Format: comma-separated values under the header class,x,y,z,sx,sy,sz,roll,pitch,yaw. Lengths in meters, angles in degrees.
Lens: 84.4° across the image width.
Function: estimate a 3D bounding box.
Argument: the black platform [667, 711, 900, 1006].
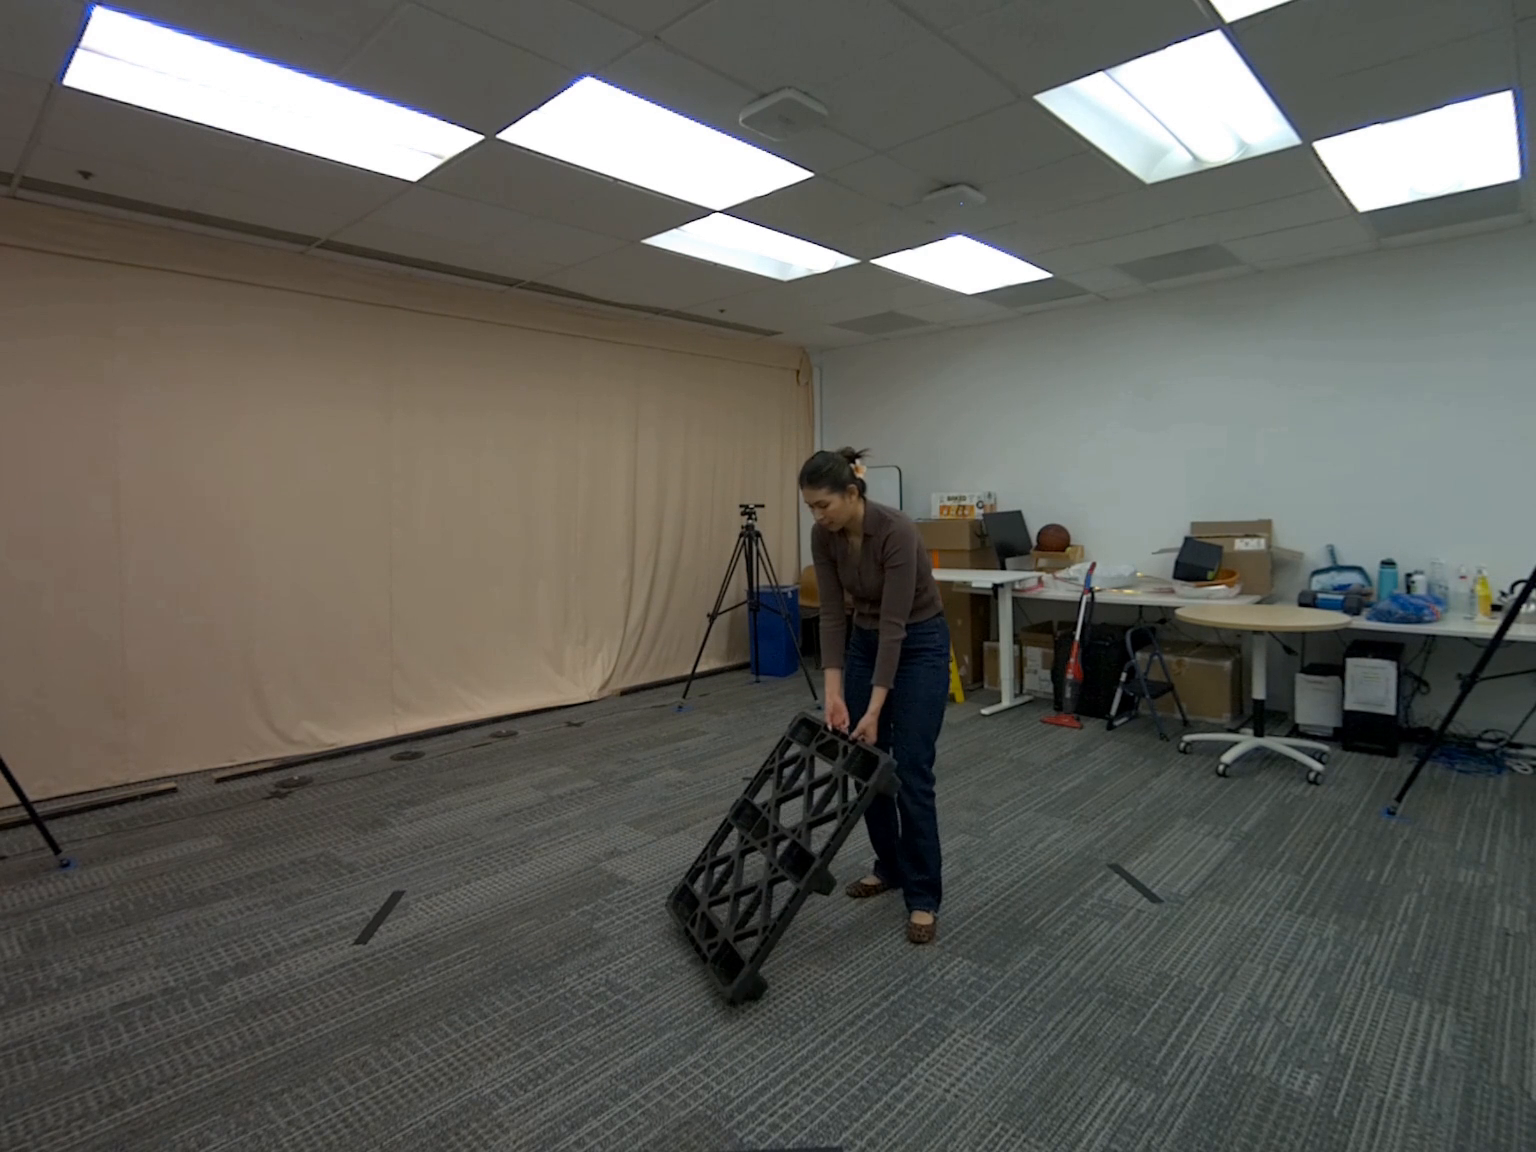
class,x,y,z,sx,sy,sz,roll,pitch,yaw
black platform,0.052,0.845,2.621,0.140,0.804,0.620,40,-10,-21
